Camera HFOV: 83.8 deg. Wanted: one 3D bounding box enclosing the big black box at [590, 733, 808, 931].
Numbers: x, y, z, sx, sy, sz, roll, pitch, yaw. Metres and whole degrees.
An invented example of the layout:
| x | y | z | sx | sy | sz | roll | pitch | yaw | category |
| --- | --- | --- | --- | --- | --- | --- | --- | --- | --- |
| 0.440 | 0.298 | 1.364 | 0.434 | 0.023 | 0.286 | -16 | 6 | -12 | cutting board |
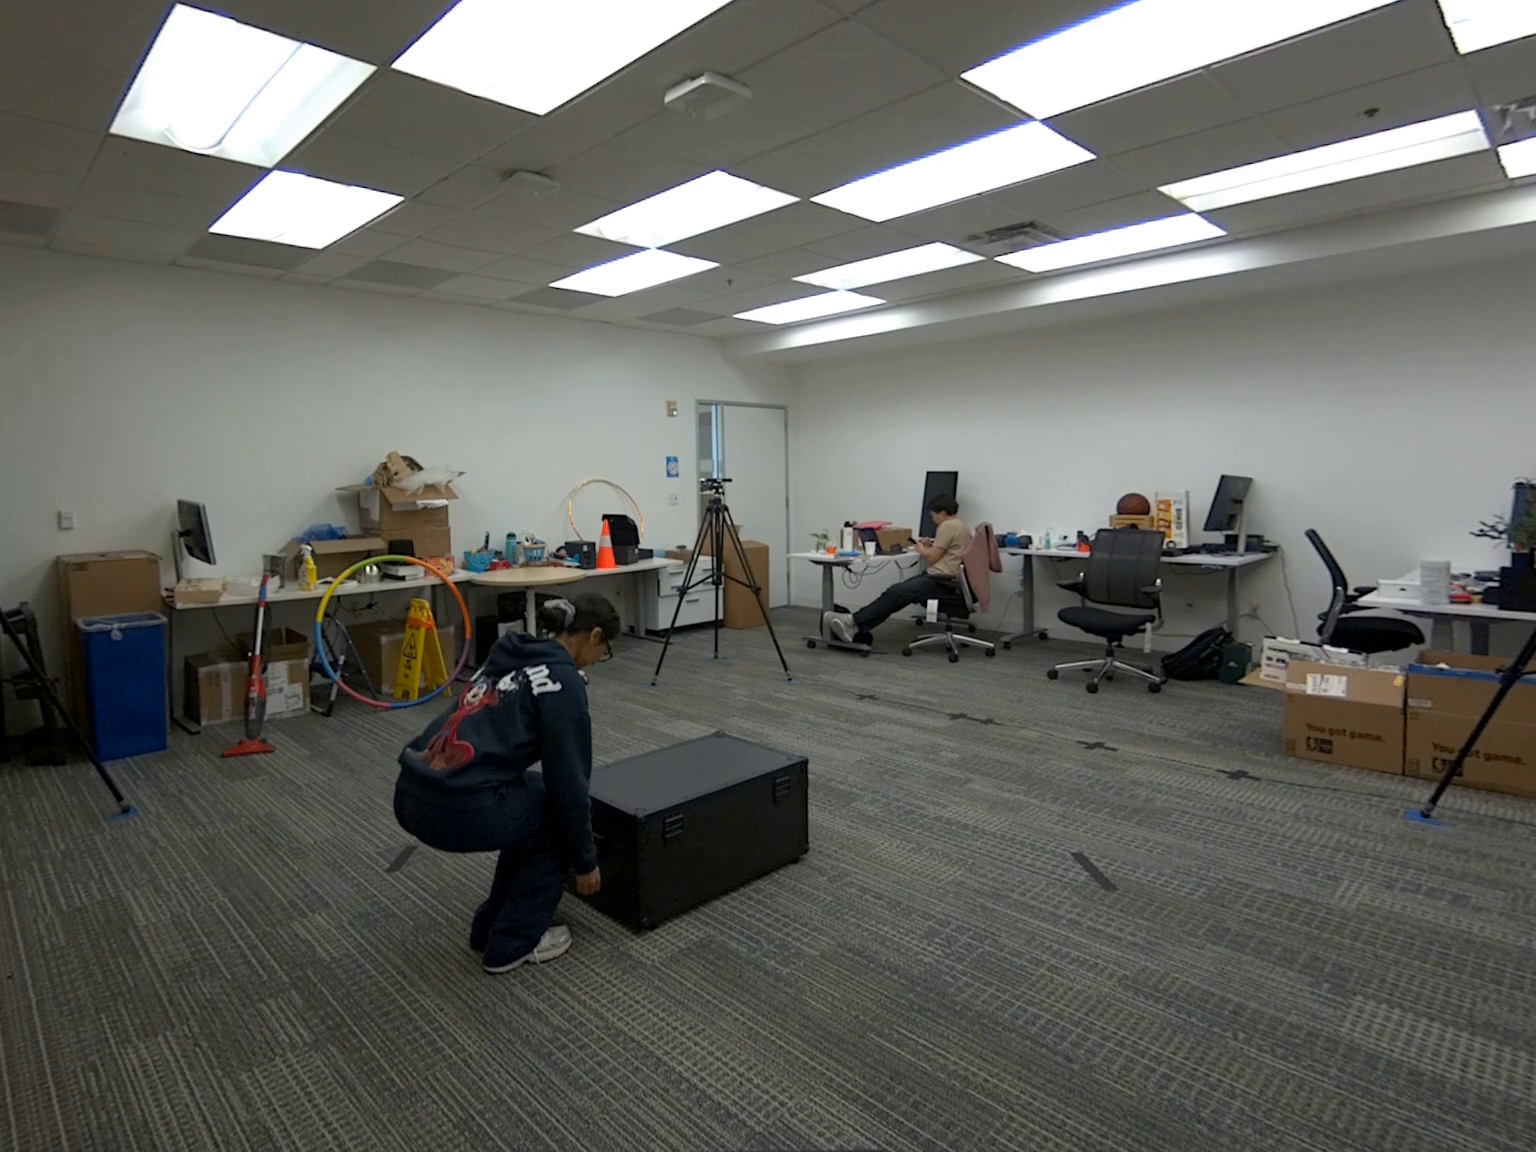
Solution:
| x | y | z | sx | sy | sz | roll | pitch | yaw | category |
| --- | --- | --- | --- | --- | --- | --- | --- | --- | --- |
| -0.266 | 0.862 | 3.059 | 0.840 | 0.394 | 0.537 | -8 | 10 | -44 | big black box |
